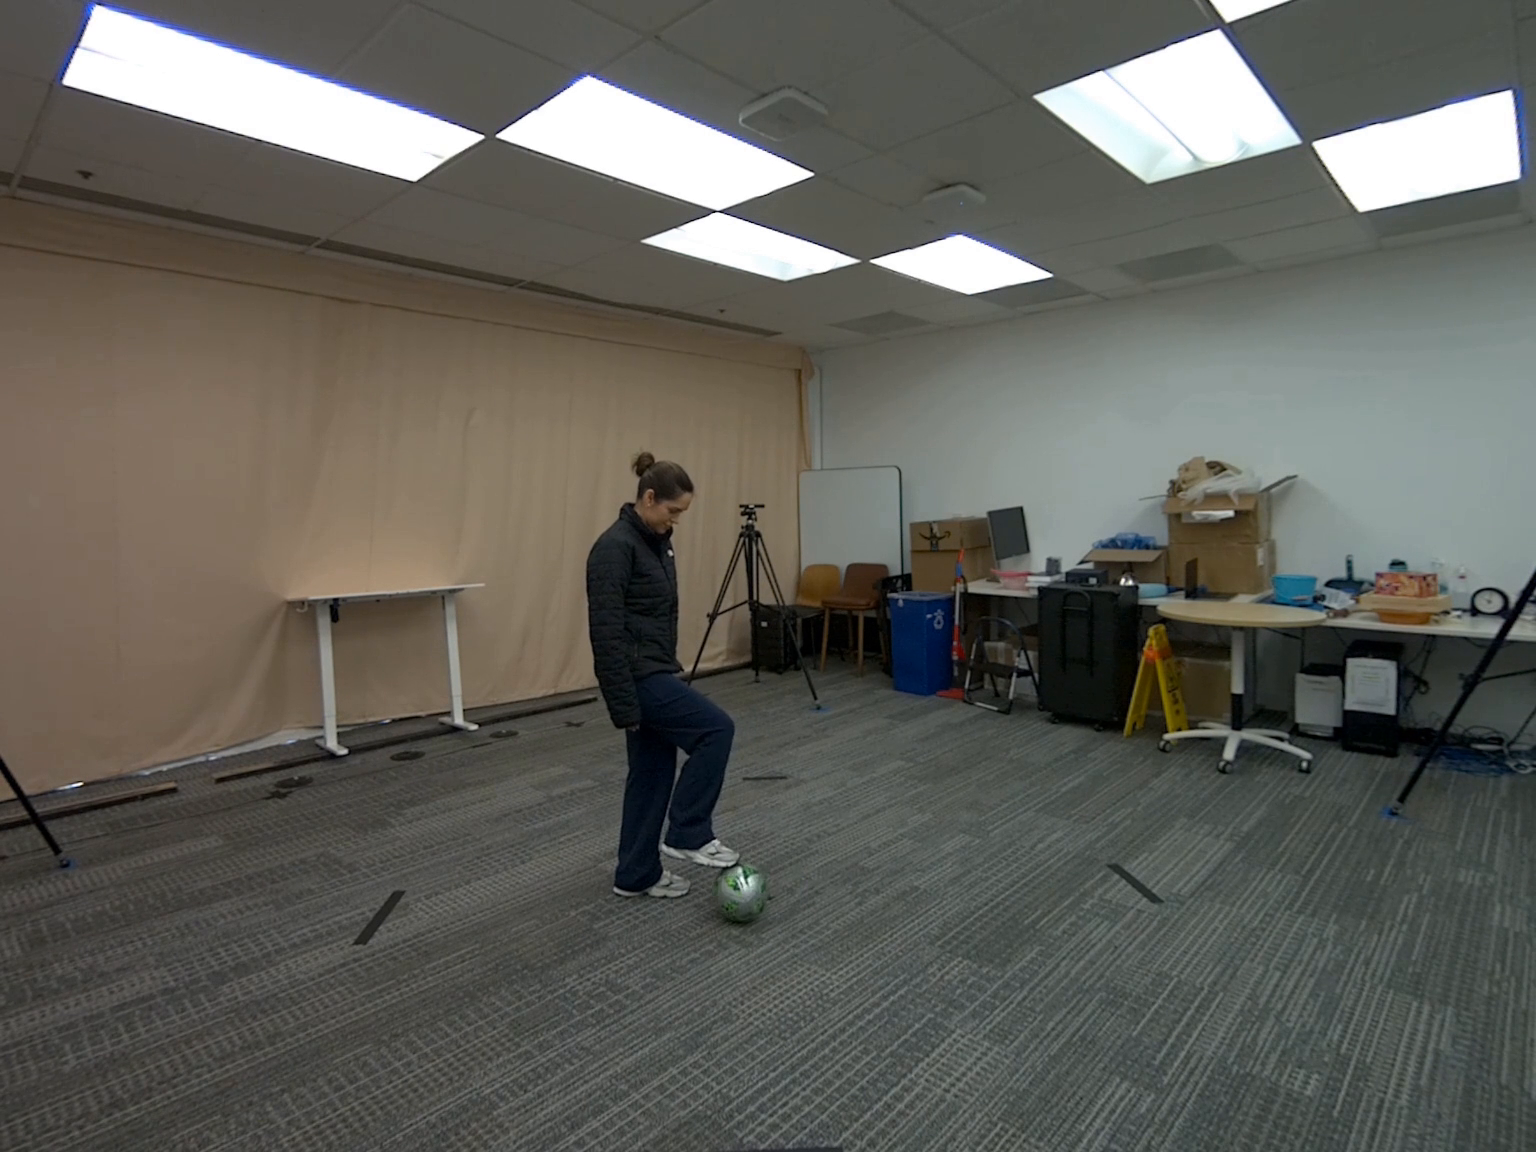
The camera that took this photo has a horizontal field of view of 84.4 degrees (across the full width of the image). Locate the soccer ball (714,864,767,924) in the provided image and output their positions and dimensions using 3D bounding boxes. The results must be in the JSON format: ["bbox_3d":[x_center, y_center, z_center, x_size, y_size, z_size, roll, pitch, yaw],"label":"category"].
[{"bbox_3d":[-0.073,1.061,2.820,0.187,0.187,0.188,-1,4,-2],"label":"soccer ball"}]
